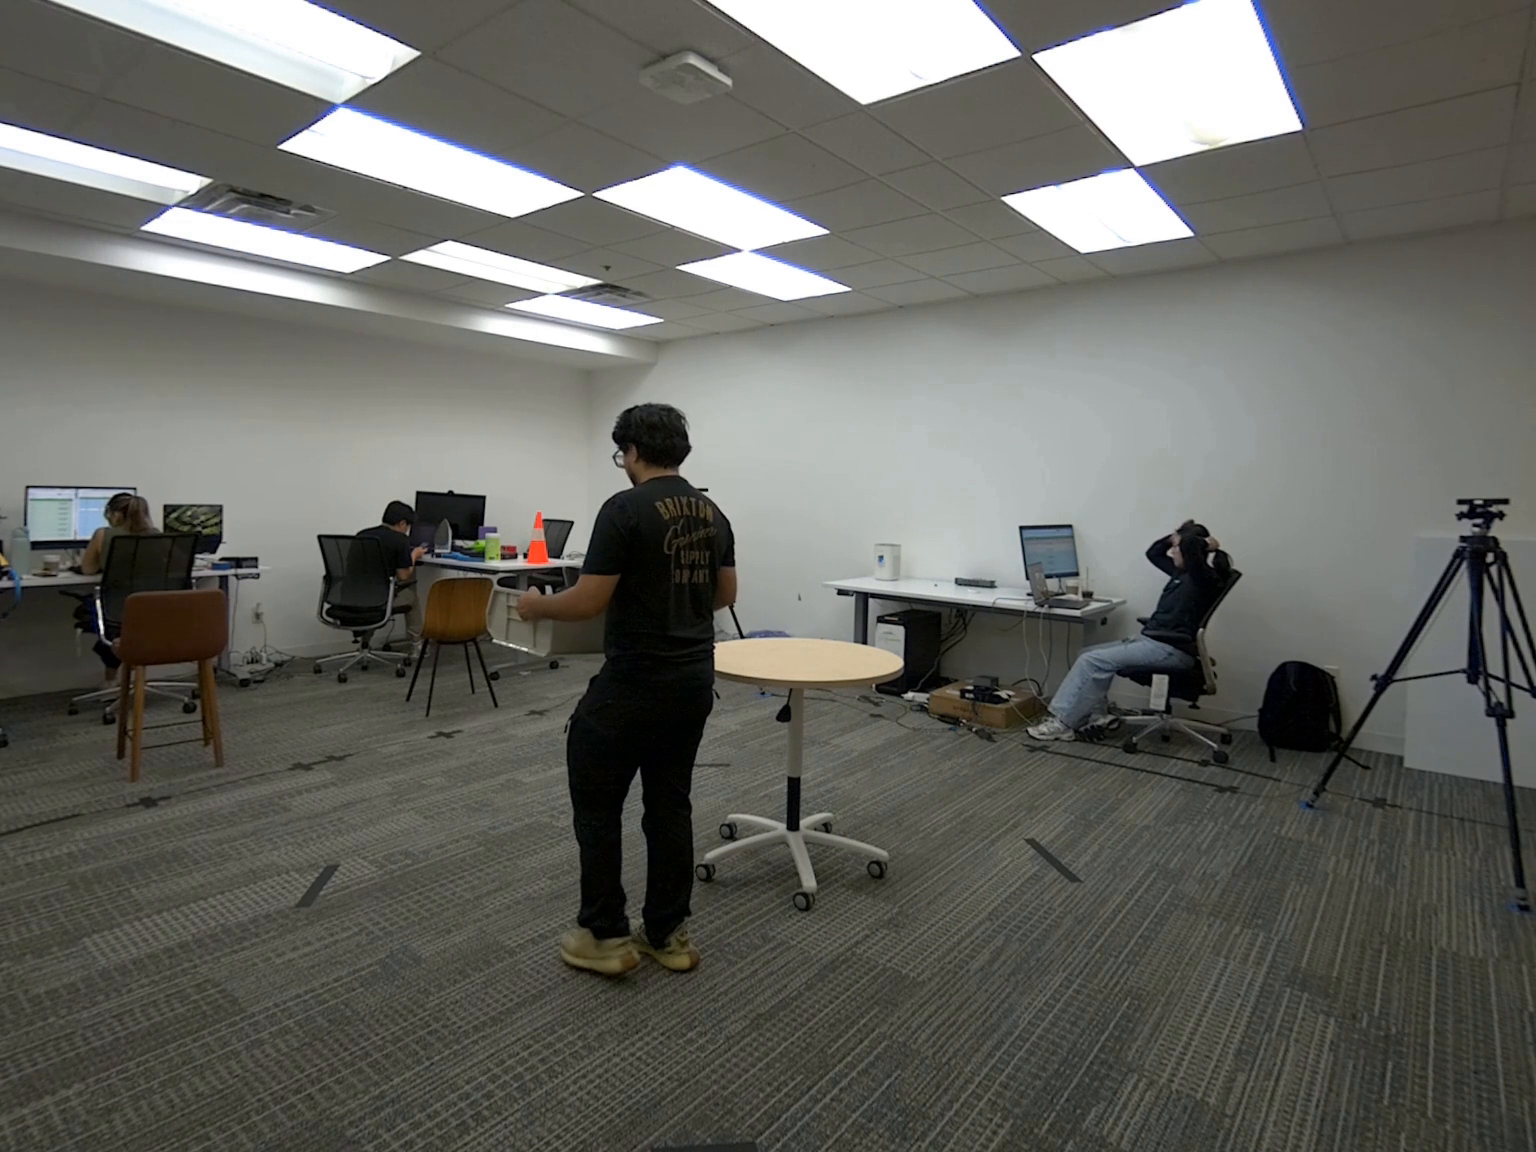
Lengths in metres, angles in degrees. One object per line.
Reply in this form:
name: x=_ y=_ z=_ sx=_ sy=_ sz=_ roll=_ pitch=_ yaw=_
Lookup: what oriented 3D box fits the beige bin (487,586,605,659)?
beige bin: x=-0.648 y=0.142 z=2.756 sx=0.391 sy=0.189 sz=0.408 roll=8 pitch=3 yaw=45
